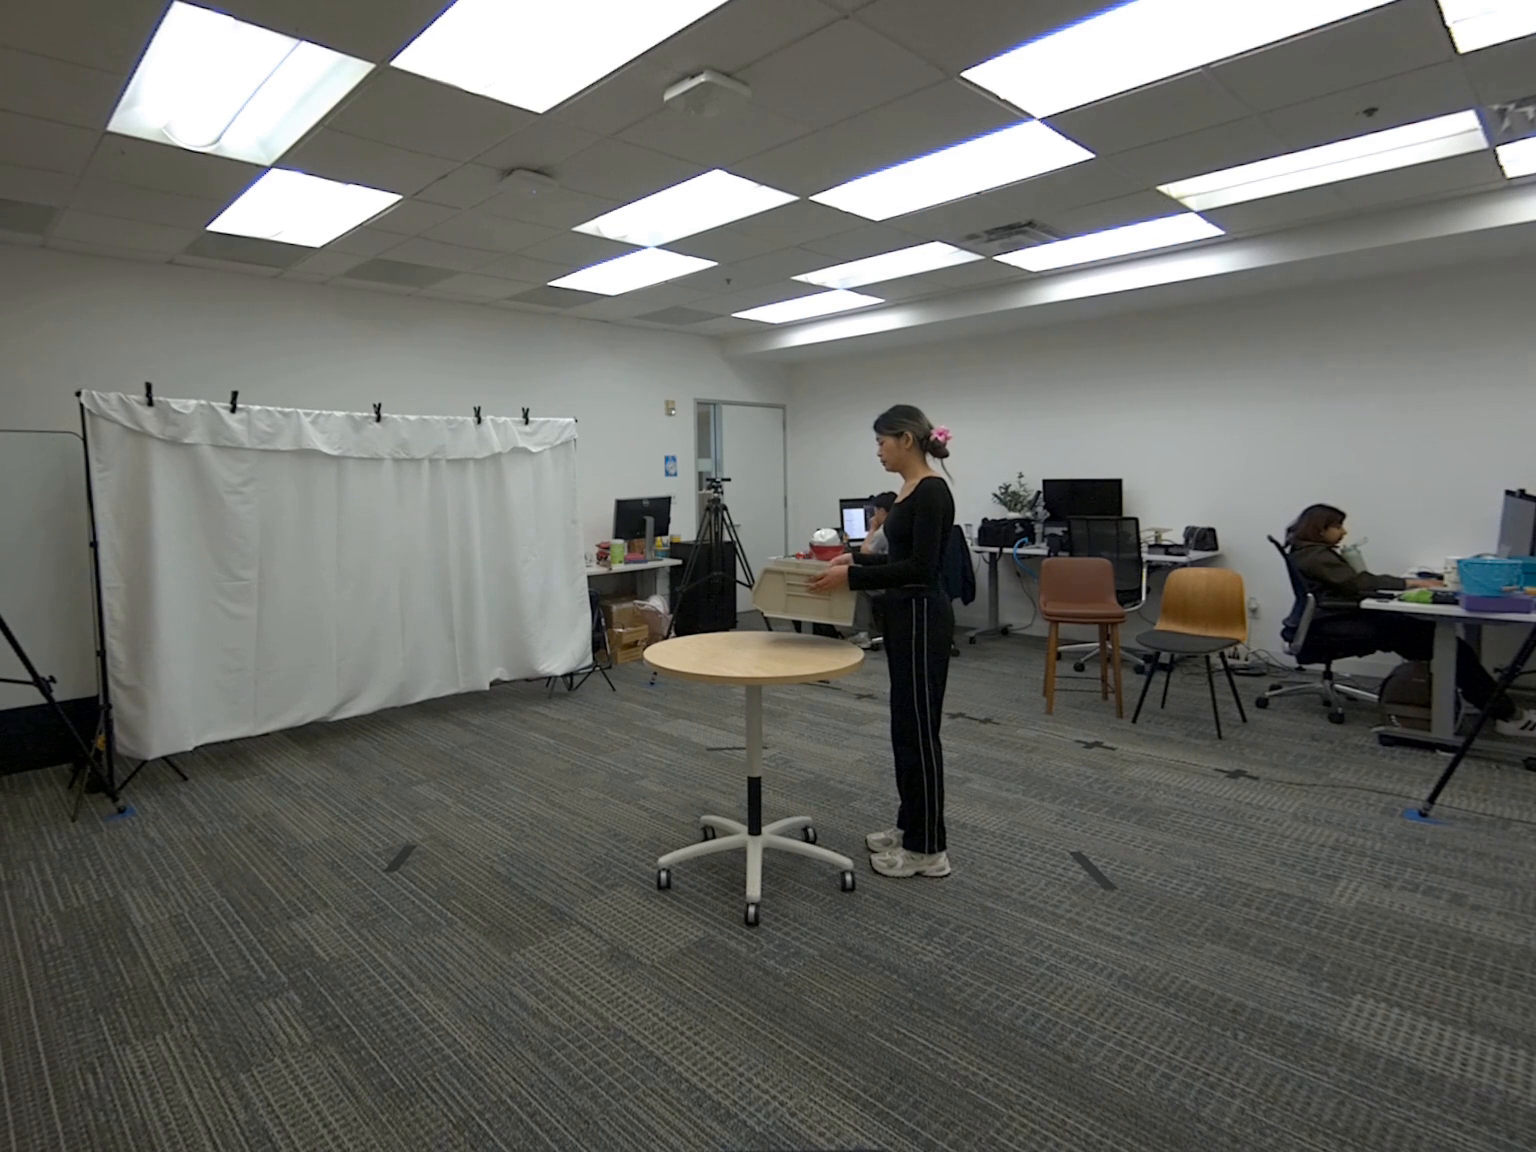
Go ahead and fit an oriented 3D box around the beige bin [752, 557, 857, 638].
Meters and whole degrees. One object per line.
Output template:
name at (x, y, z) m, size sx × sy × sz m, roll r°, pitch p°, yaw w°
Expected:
beige bin at (0.147, 0.056, 3.209) m, size 0.382 × 0.188 × 0.418 m, roll 7°, pitch 4°, yaw 10°
